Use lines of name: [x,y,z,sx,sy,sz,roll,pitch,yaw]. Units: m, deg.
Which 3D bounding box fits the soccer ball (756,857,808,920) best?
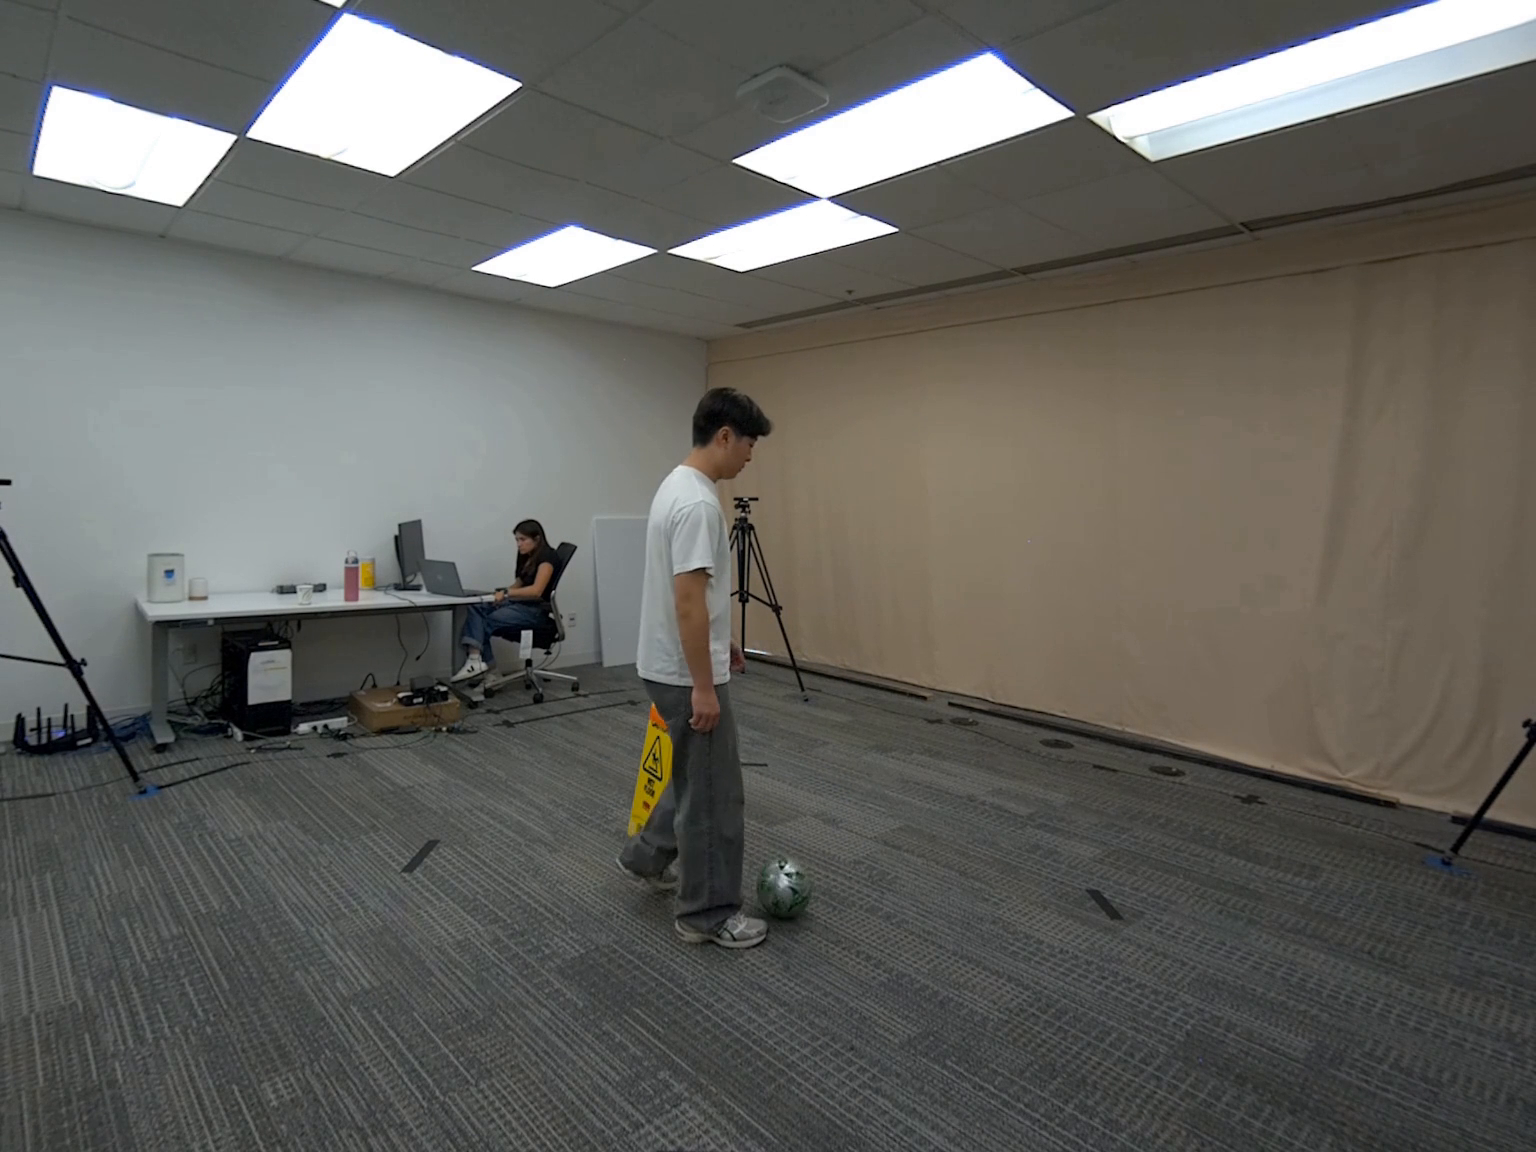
soccer ball: [0.047,1.047,2.809,0.187,0.187,0.188,1,4,-1]
